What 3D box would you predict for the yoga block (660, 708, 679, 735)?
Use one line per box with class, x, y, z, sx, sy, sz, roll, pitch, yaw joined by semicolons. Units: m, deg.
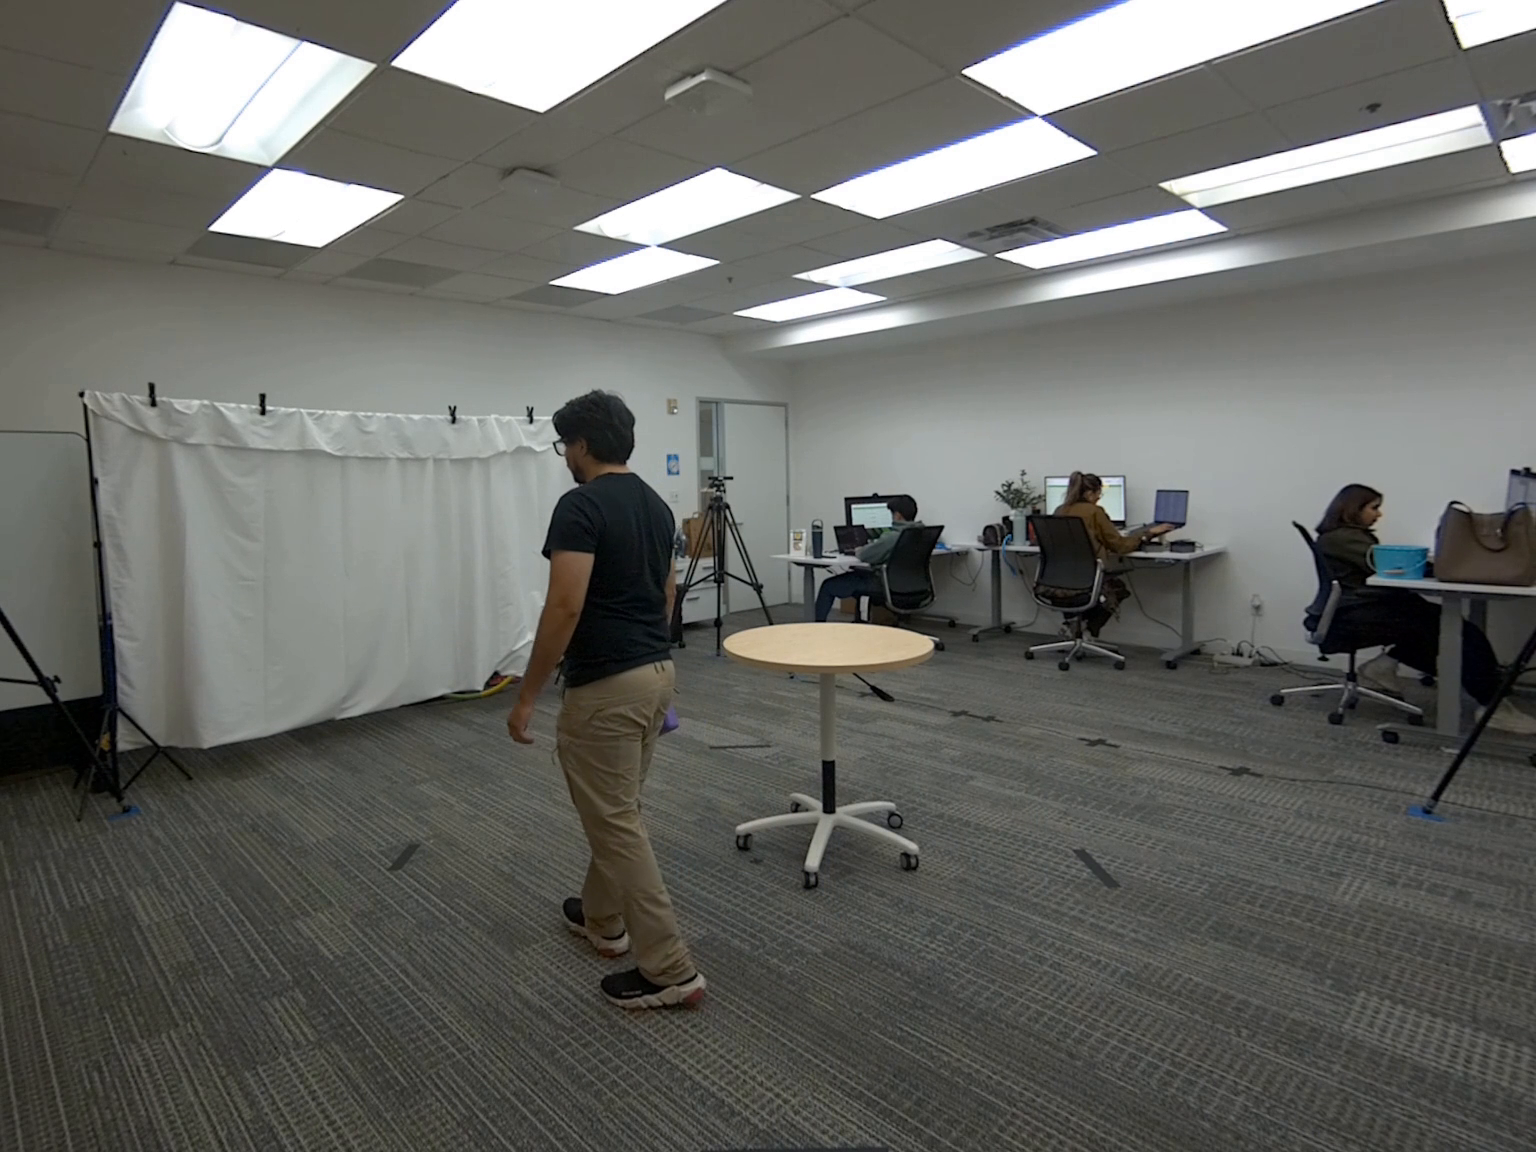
yoga block;-0.408;0.451;2.698;0.231;0.152;0.074;-26;-18;18
